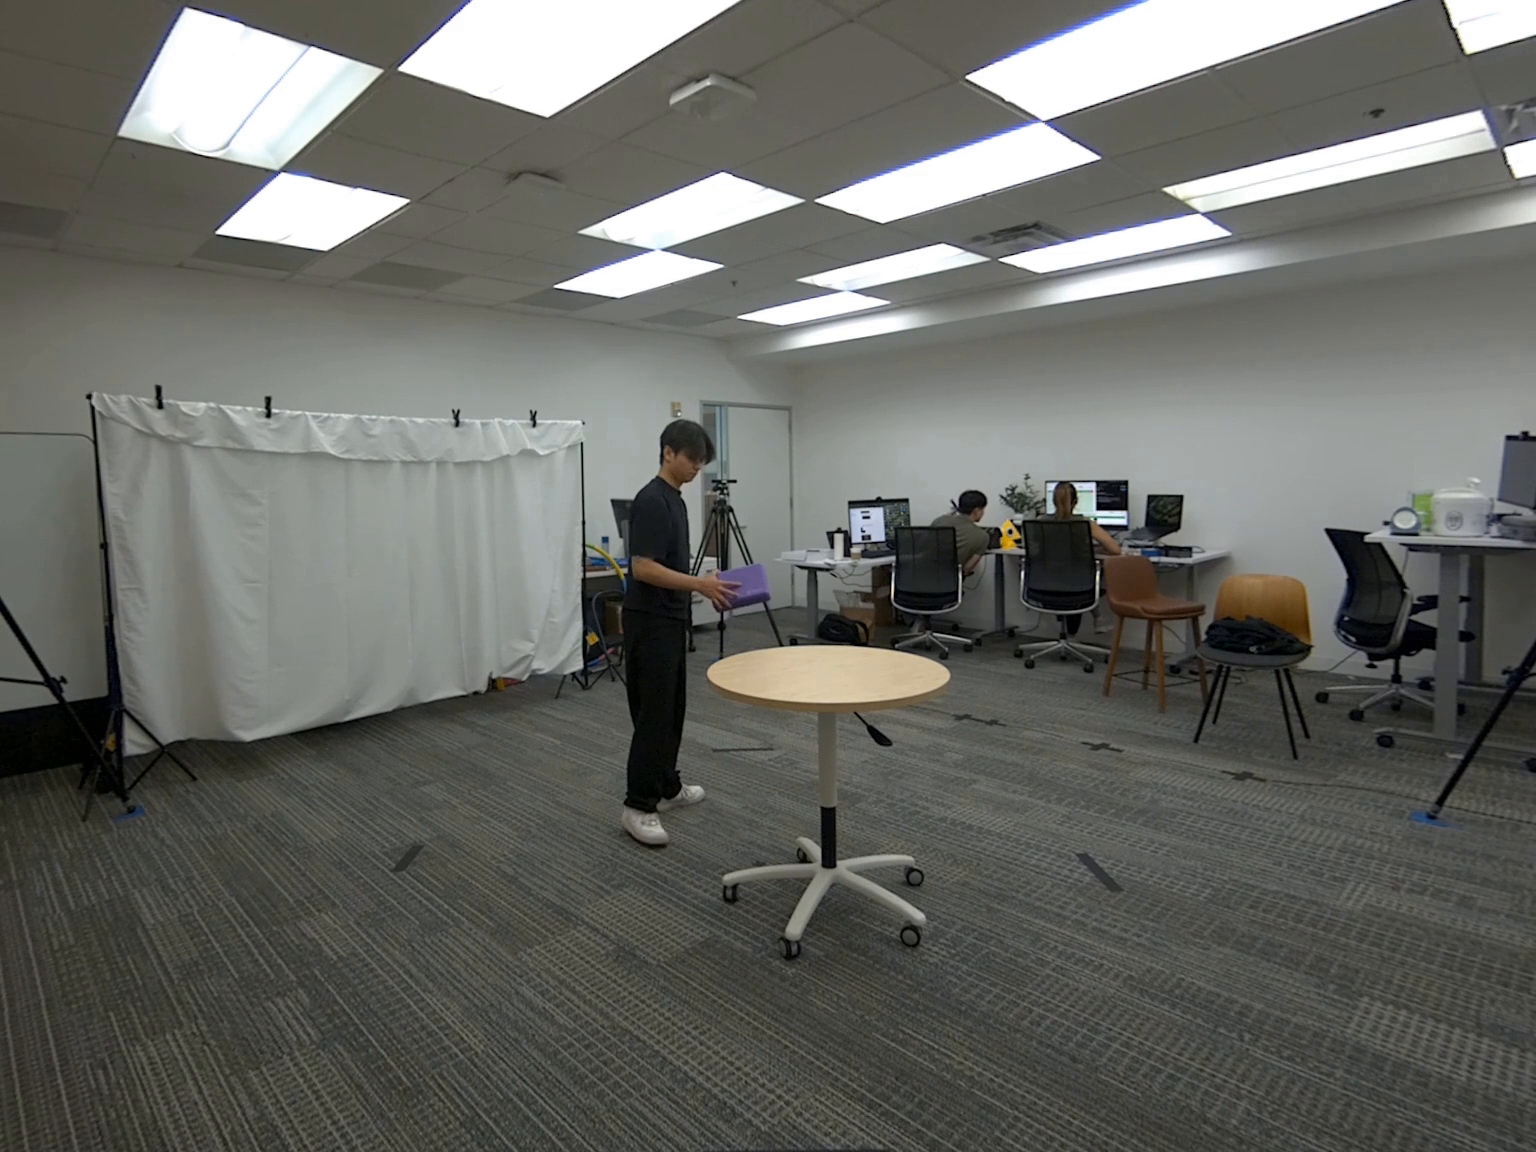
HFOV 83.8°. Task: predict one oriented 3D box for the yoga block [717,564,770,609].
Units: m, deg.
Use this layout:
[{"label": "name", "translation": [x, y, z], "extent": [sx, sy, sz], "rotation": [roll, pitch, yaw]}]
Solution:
[{"label": "yoga block", "translation": [-0.120, 0.045, 3.432], "extent": [0.231, 0.153, 0.074], "rotation": [-11, -28, 10]}]
